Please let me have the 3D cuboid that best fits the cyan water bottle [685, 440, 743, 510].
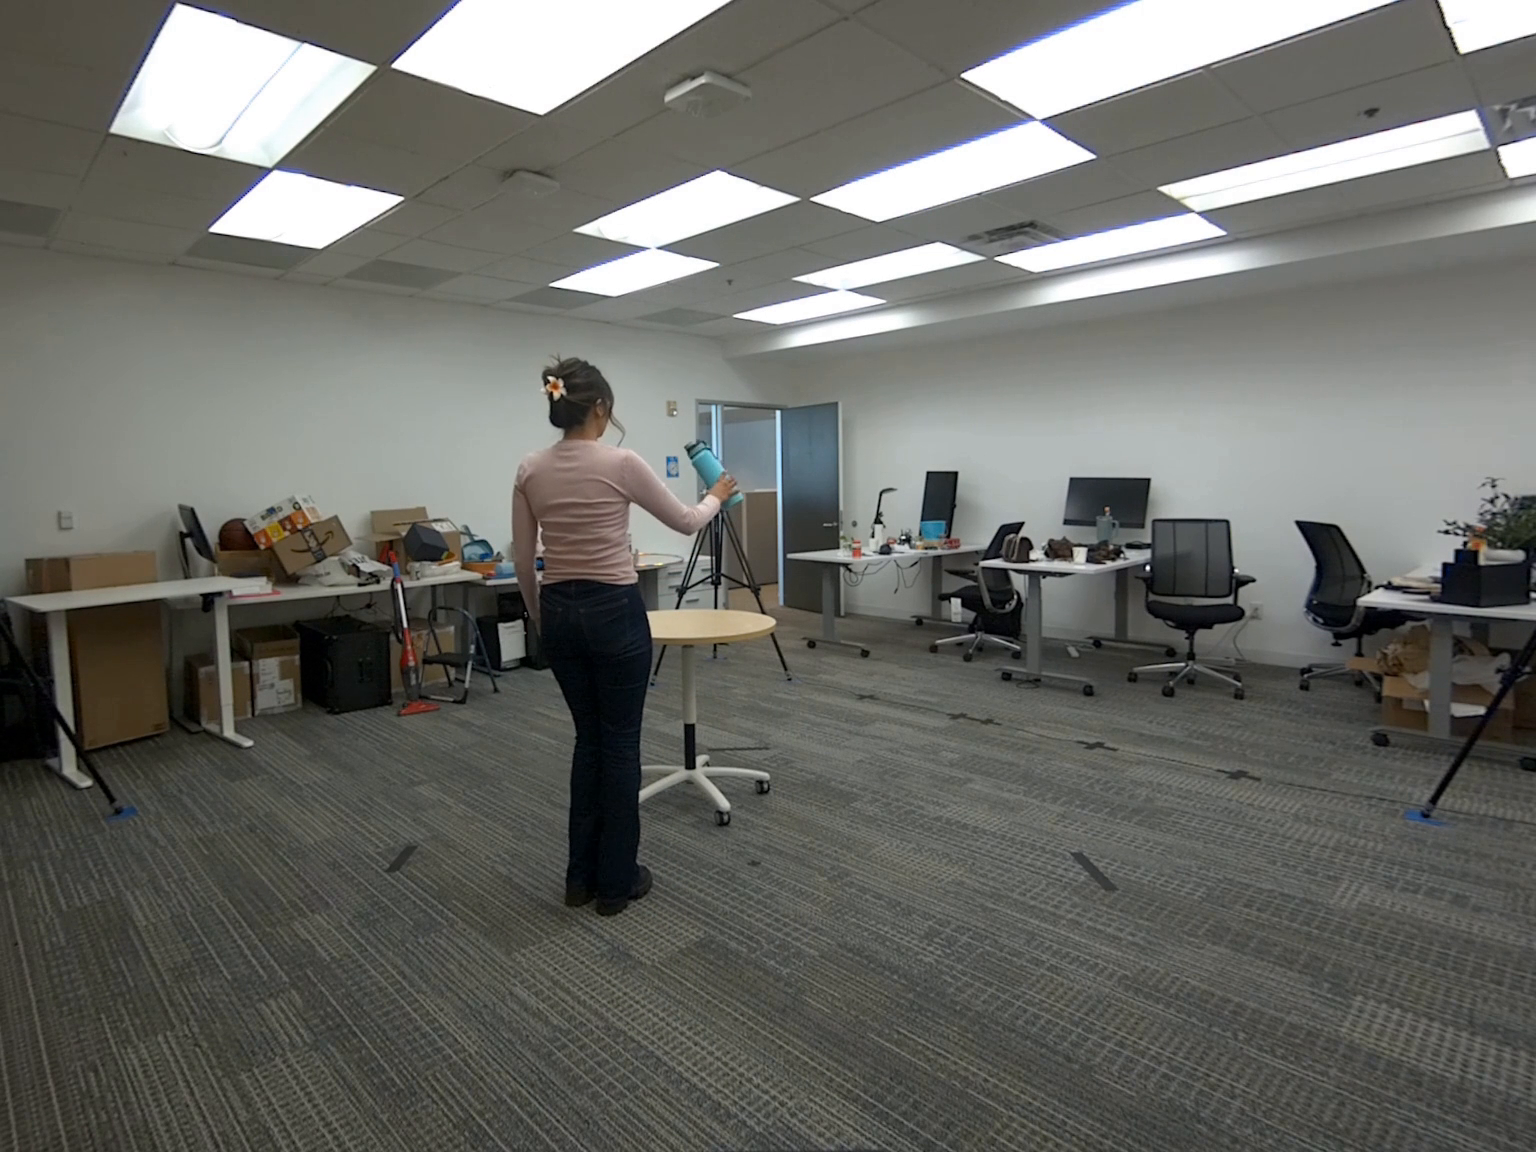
[{"bbox_3d":[-0.206,-0.378,3.160,0.092,0.284,0.092,-33,-1,-1],"label":"cyan water bottle"}]
